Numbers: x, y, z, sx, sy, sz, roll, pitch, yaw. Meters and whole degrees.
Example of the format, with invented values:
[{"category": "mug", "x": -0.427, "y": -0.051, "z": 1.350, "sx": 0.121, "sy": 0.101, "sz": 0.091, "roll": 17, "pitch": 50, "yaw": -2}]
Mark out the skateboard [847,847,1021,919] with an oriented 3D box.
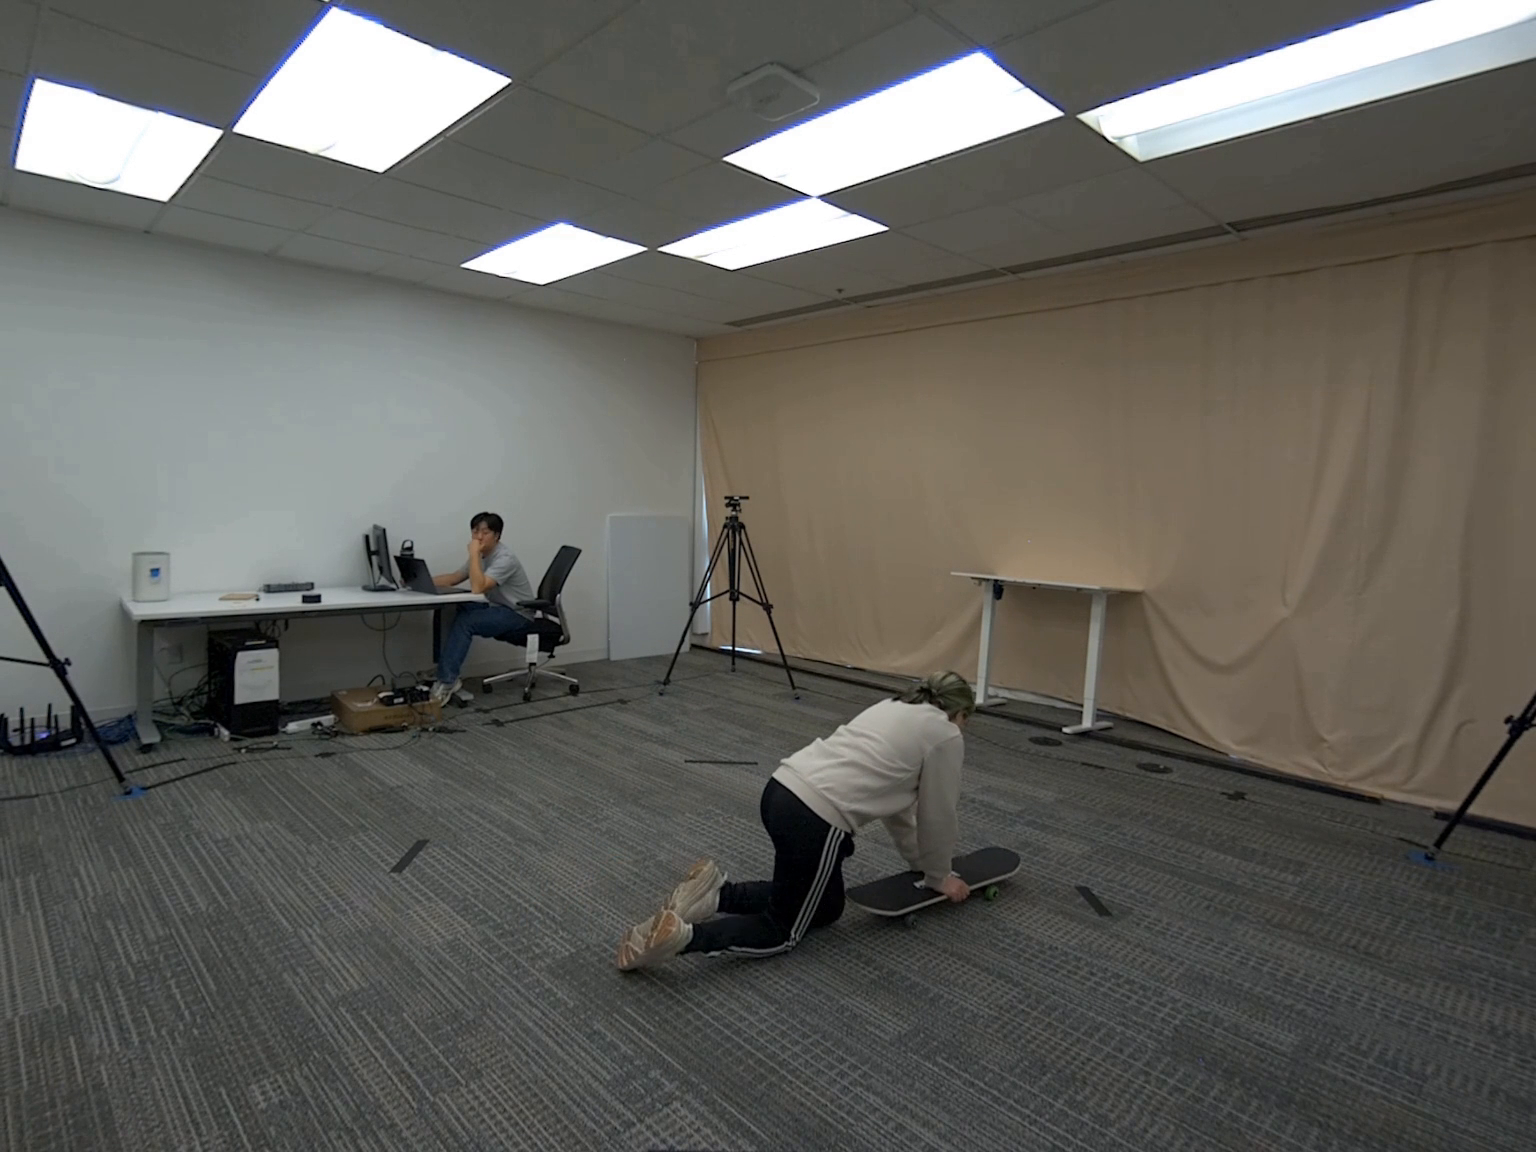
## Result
[{"category": "skateboard", "x": 0.581, "y": 1.083, "z": 2.920, "sx": 0.769, "sy": 0.110, "sz": 0.198, "roll": -2, "pitch": 8, "yaw": -34}]
